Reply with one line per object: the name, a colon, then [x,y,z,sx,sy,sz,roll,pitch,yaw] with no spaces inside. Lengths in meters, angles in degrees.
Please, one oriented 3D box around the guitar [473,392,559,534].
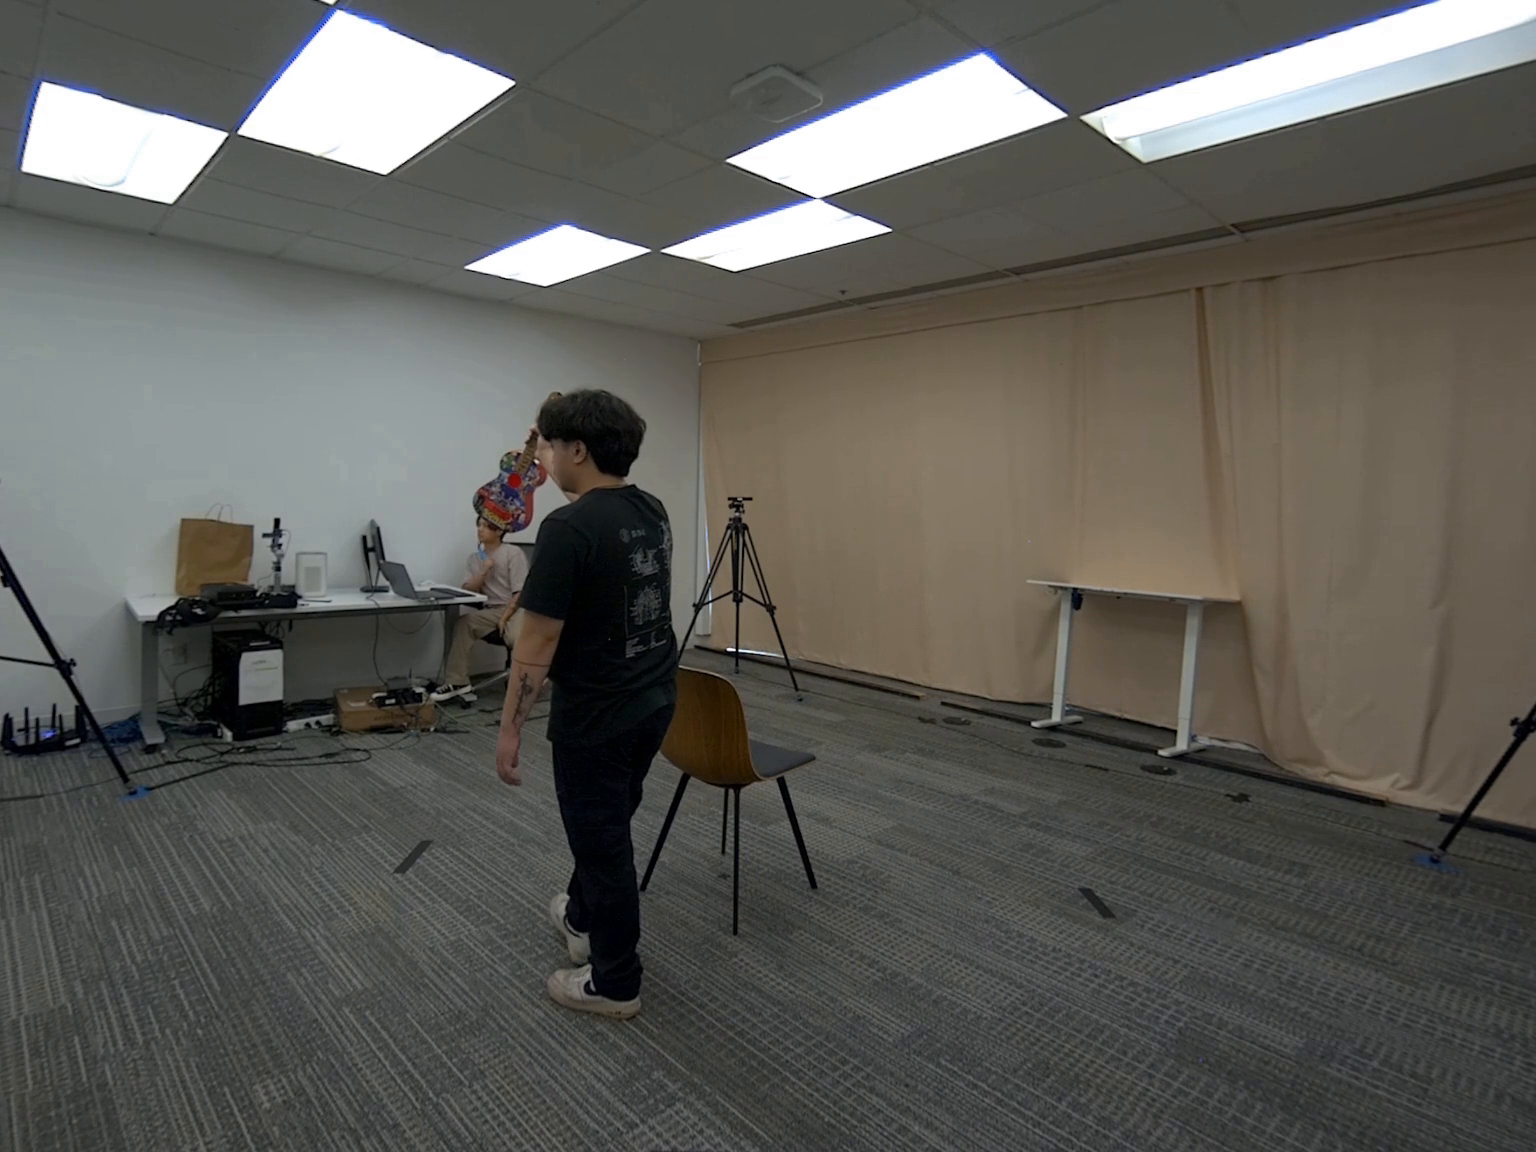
guitar: [-0.764,-0.354,2.733,0.193,0.497,0.070,41,15,2]
